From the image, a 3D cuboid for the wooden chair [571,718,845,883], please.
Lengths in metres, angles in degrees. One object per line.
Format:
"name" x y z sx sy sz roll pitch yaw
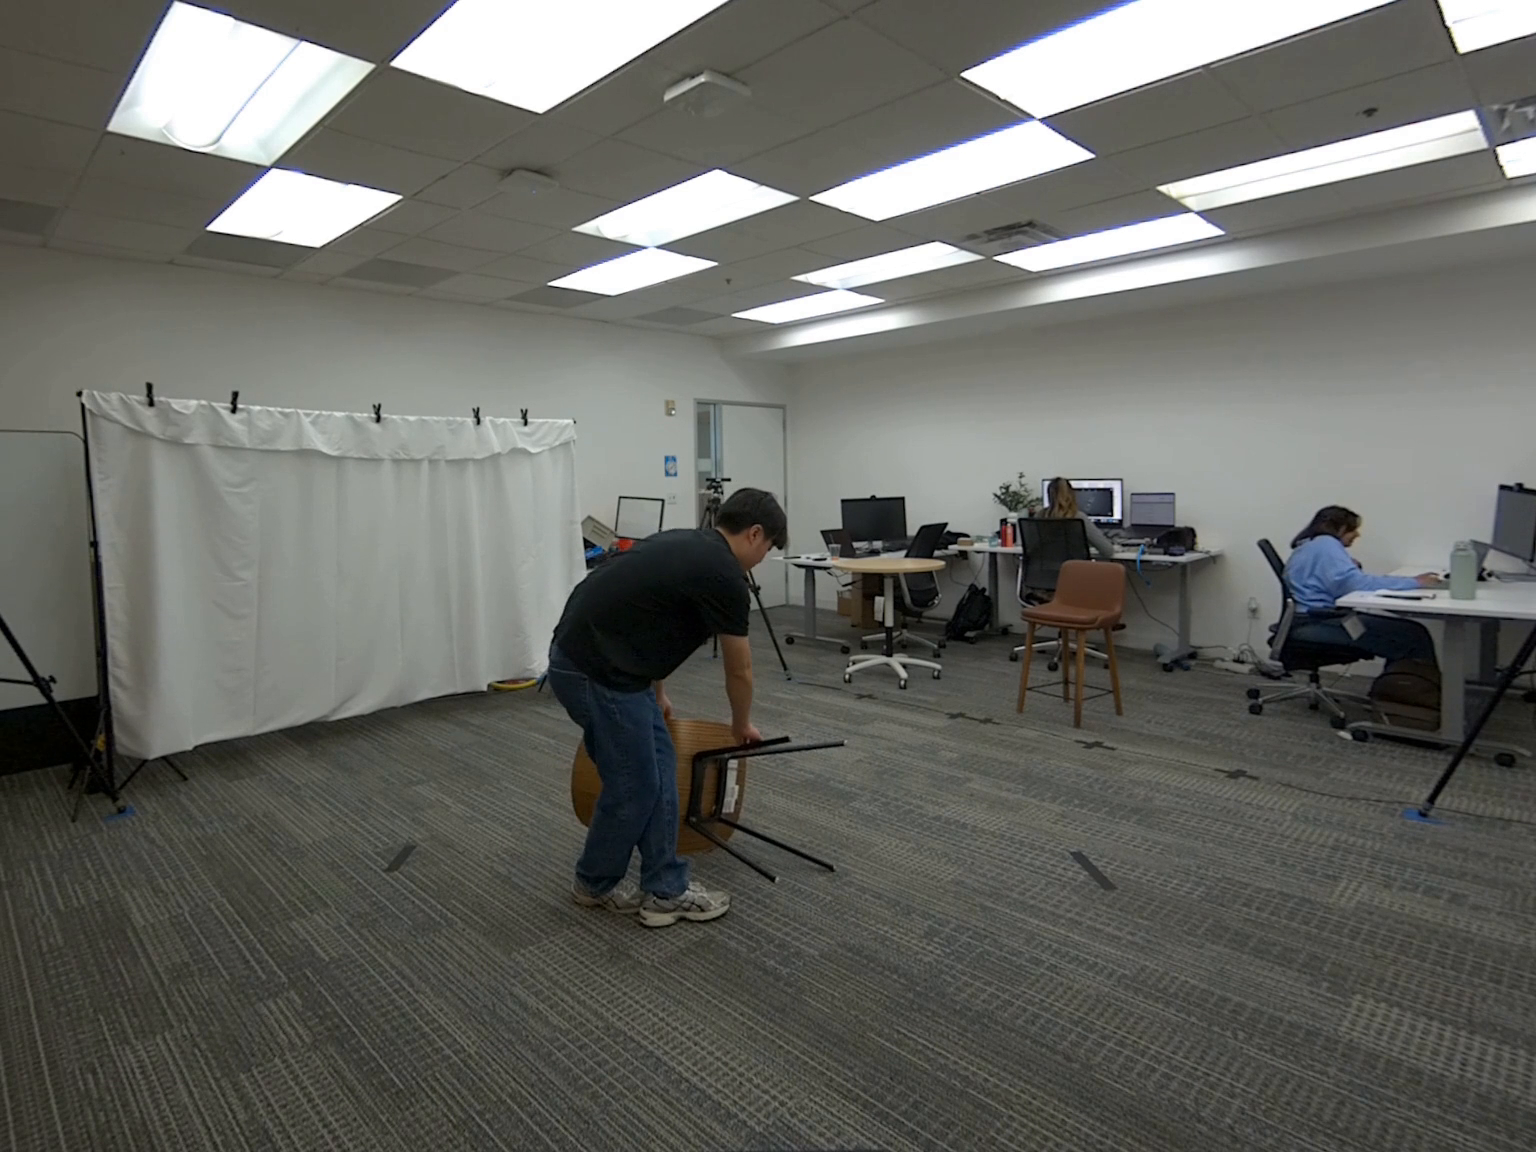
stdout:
"wooden chair" -0.205 0.783 3.124 0.898 0.482 0.506 1 -11 27
